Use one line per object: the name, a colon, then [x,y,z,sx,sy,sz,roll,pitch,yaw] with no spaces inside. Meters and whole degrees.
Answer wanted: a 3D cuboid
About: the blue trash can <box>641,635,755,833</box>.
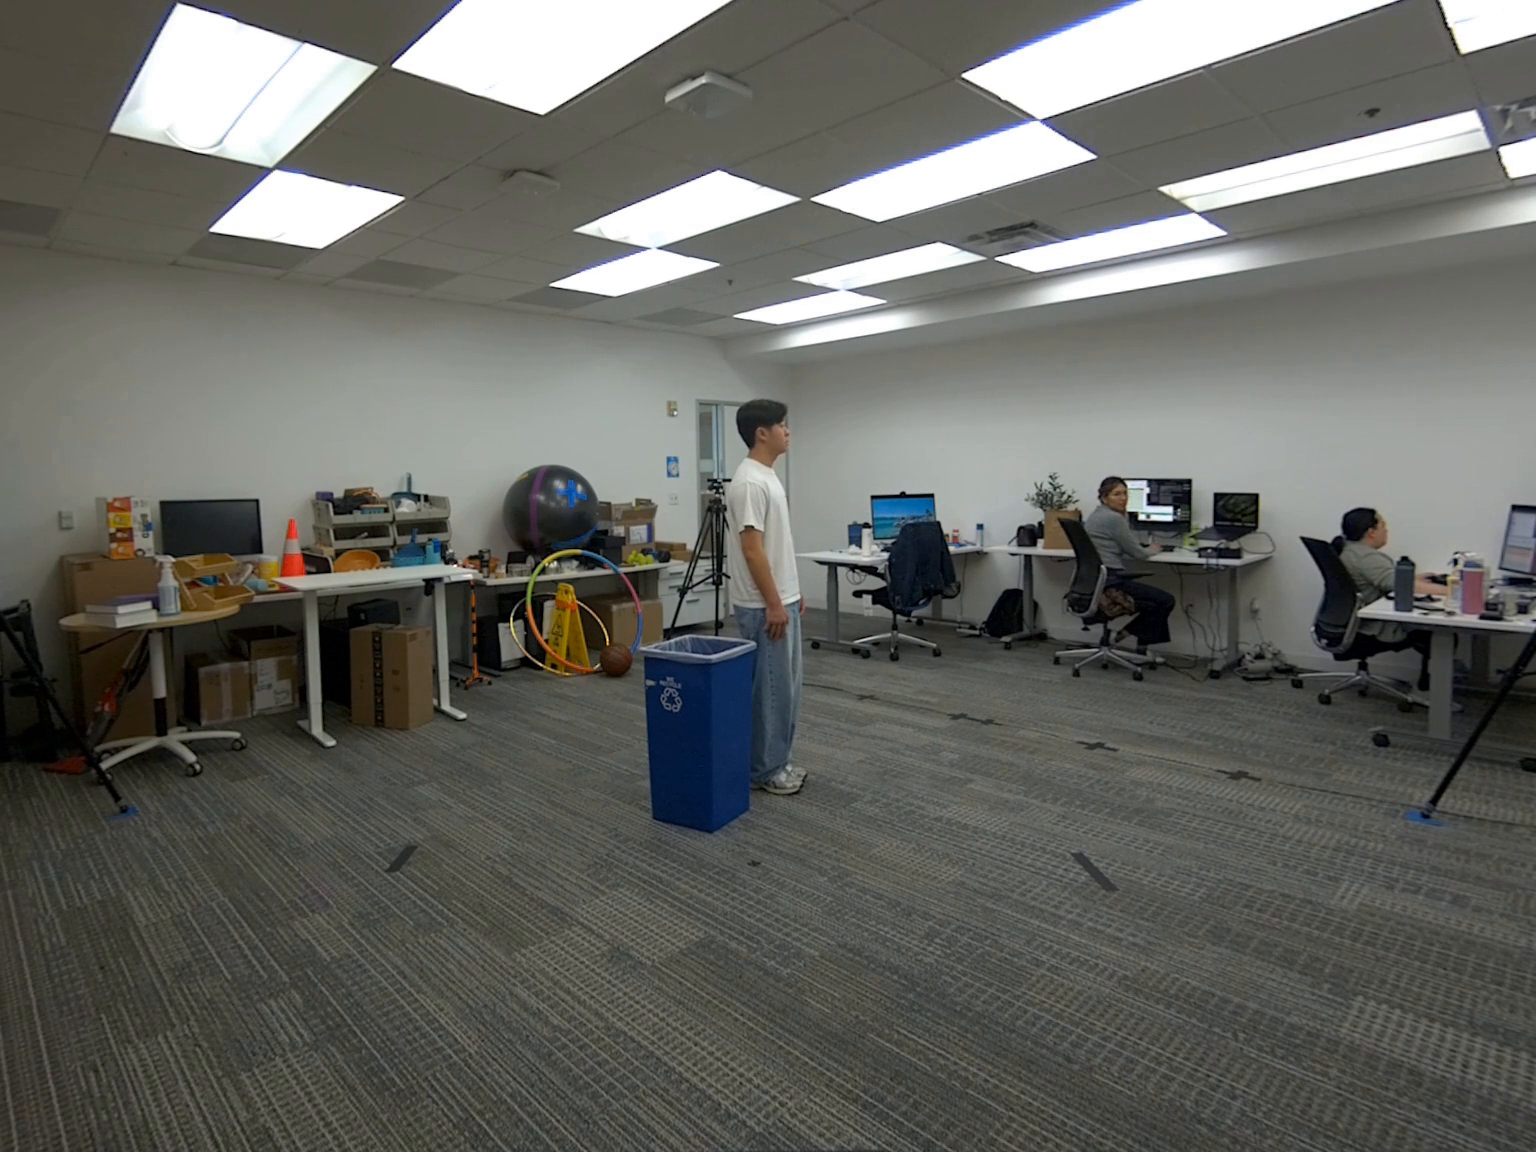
blue trash can: [-0.278,0.639,3.555,0.384,0.711,0.369,1,4,30]
